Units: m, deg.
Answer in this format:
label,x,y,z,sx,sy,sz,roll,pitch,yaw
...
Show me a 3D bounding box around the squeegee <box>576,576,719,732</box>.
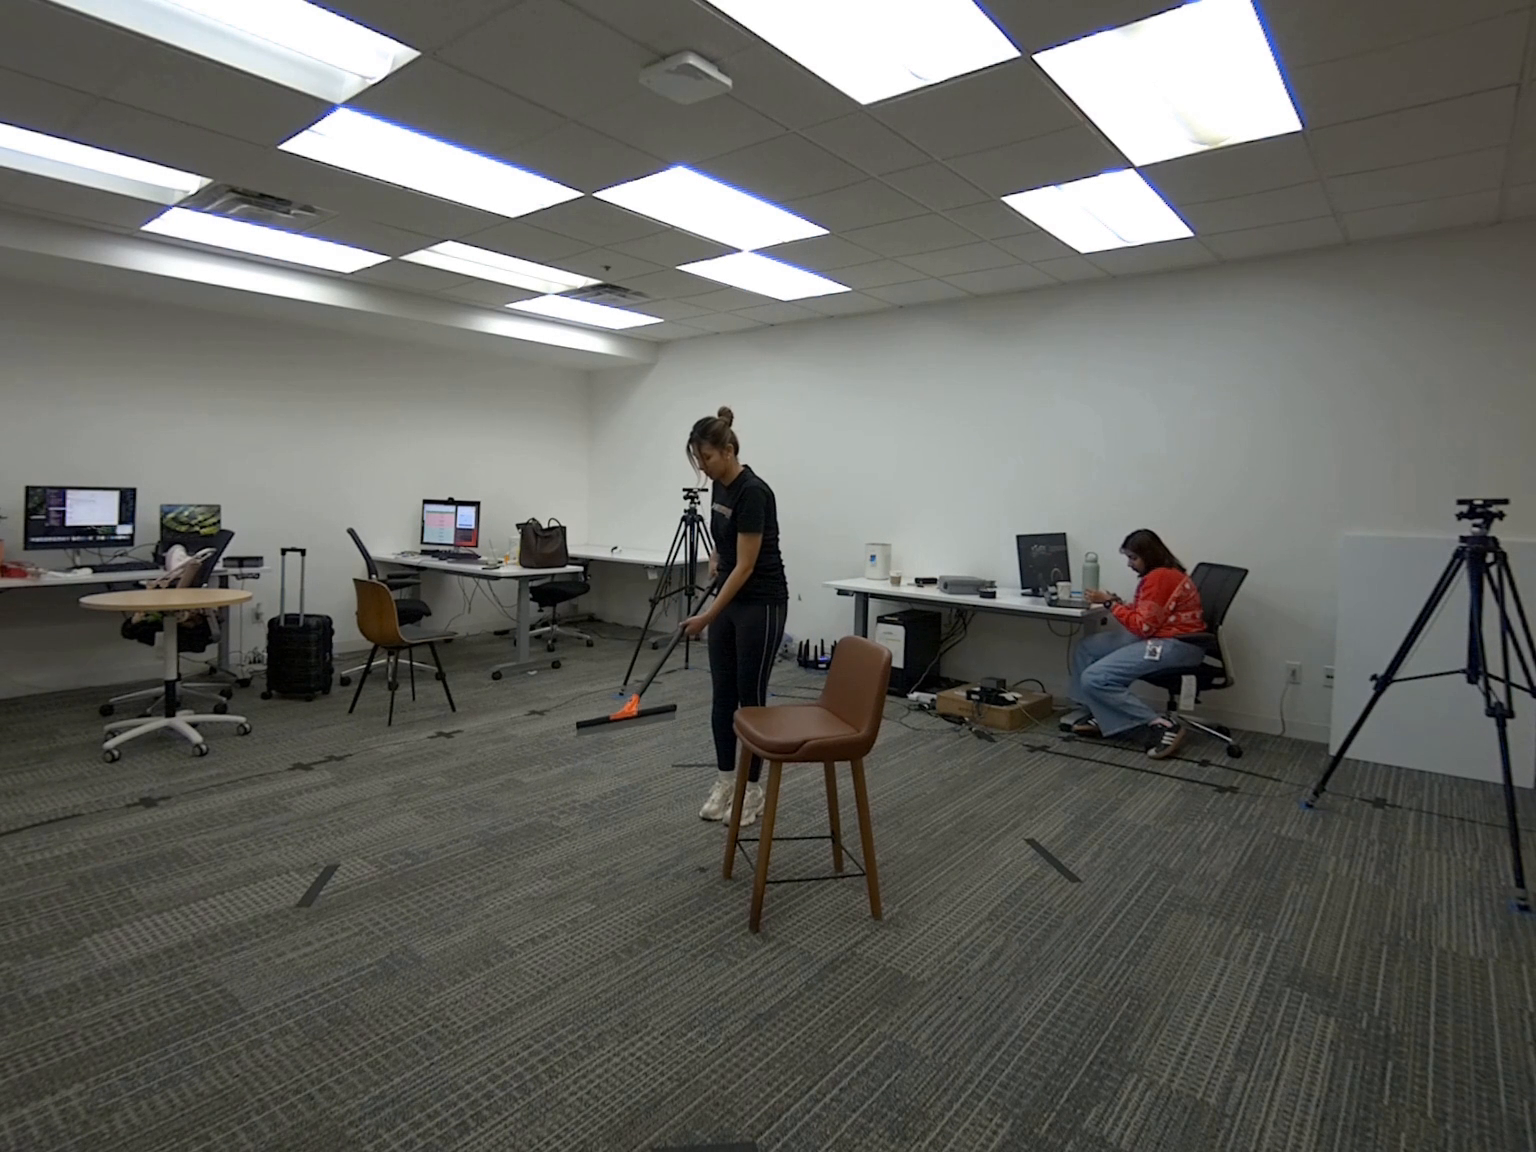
label,x,y,z,sx,sy,sz,roll,pitch,yaw
squeegee,-0.318,0.135,3.581,0.445,0.052,1.546,-16,22,26
